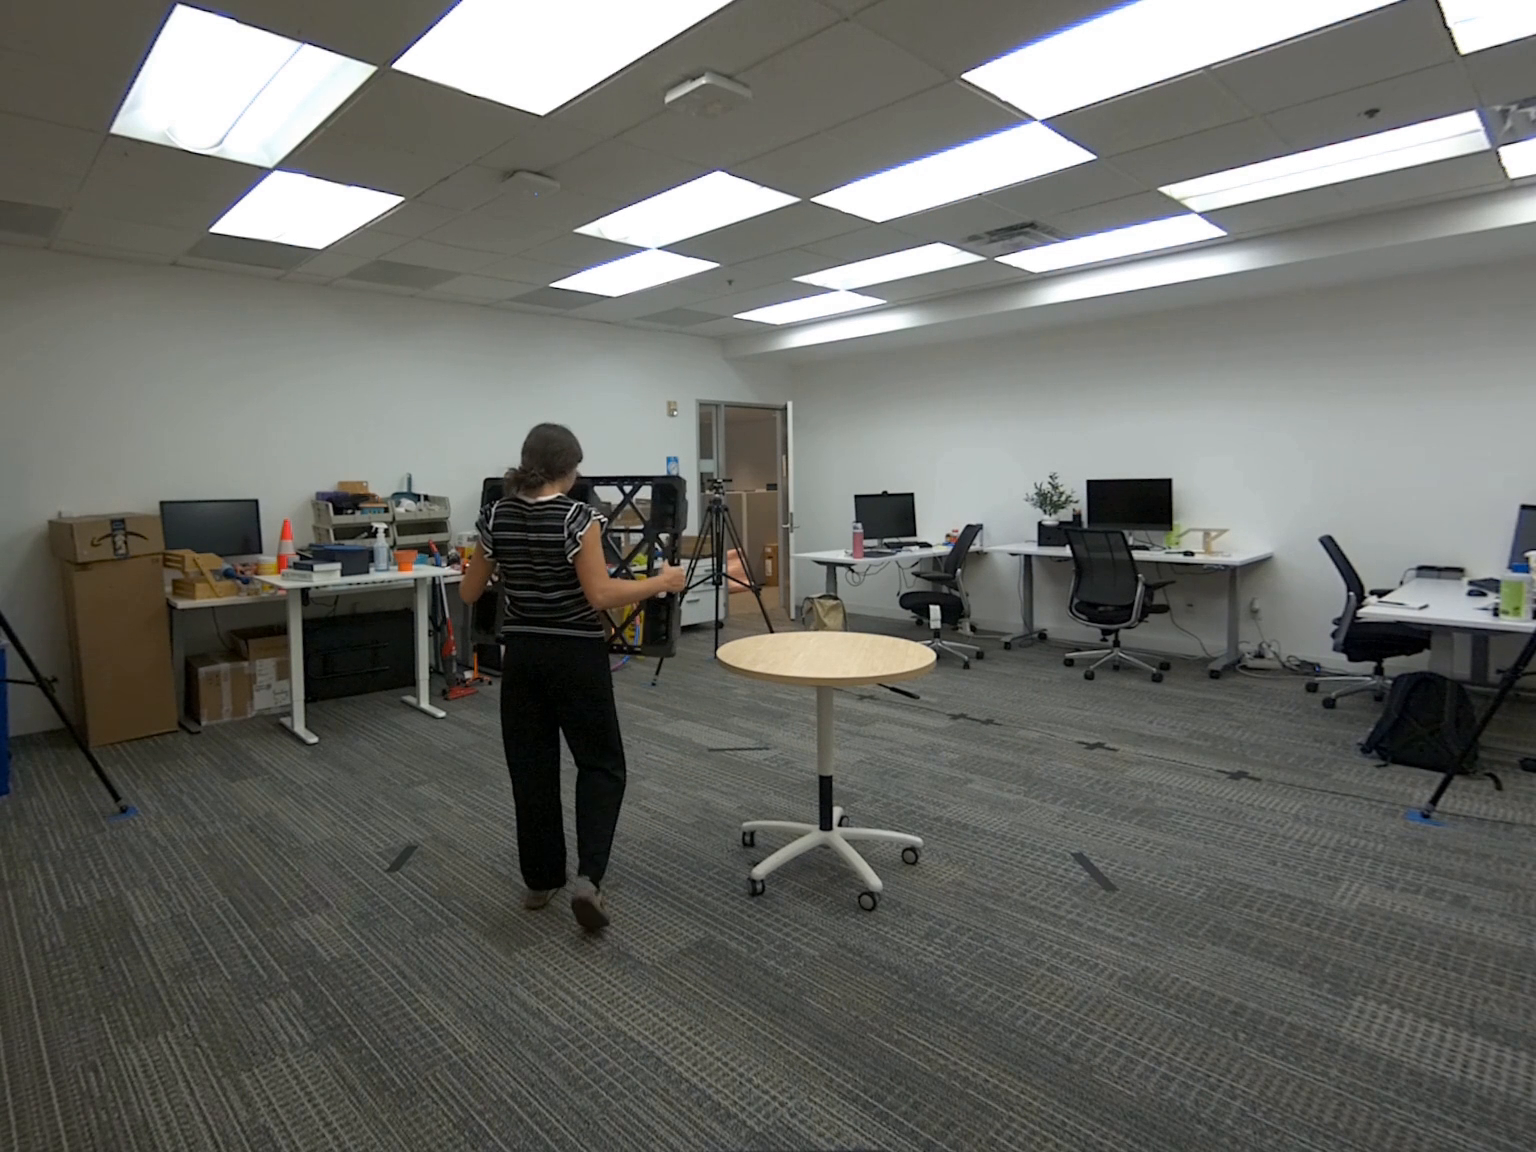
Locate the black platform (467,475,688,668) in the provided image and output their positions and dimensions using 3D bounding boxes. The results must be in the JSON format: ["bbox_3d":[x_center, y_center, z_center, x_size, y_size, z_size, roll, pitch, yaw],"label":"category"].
[{"bbox_3d":[-0.651,-0.044,2.986,0.821,0.608,0.140,2,-6,20],"label":"black platform"}]
